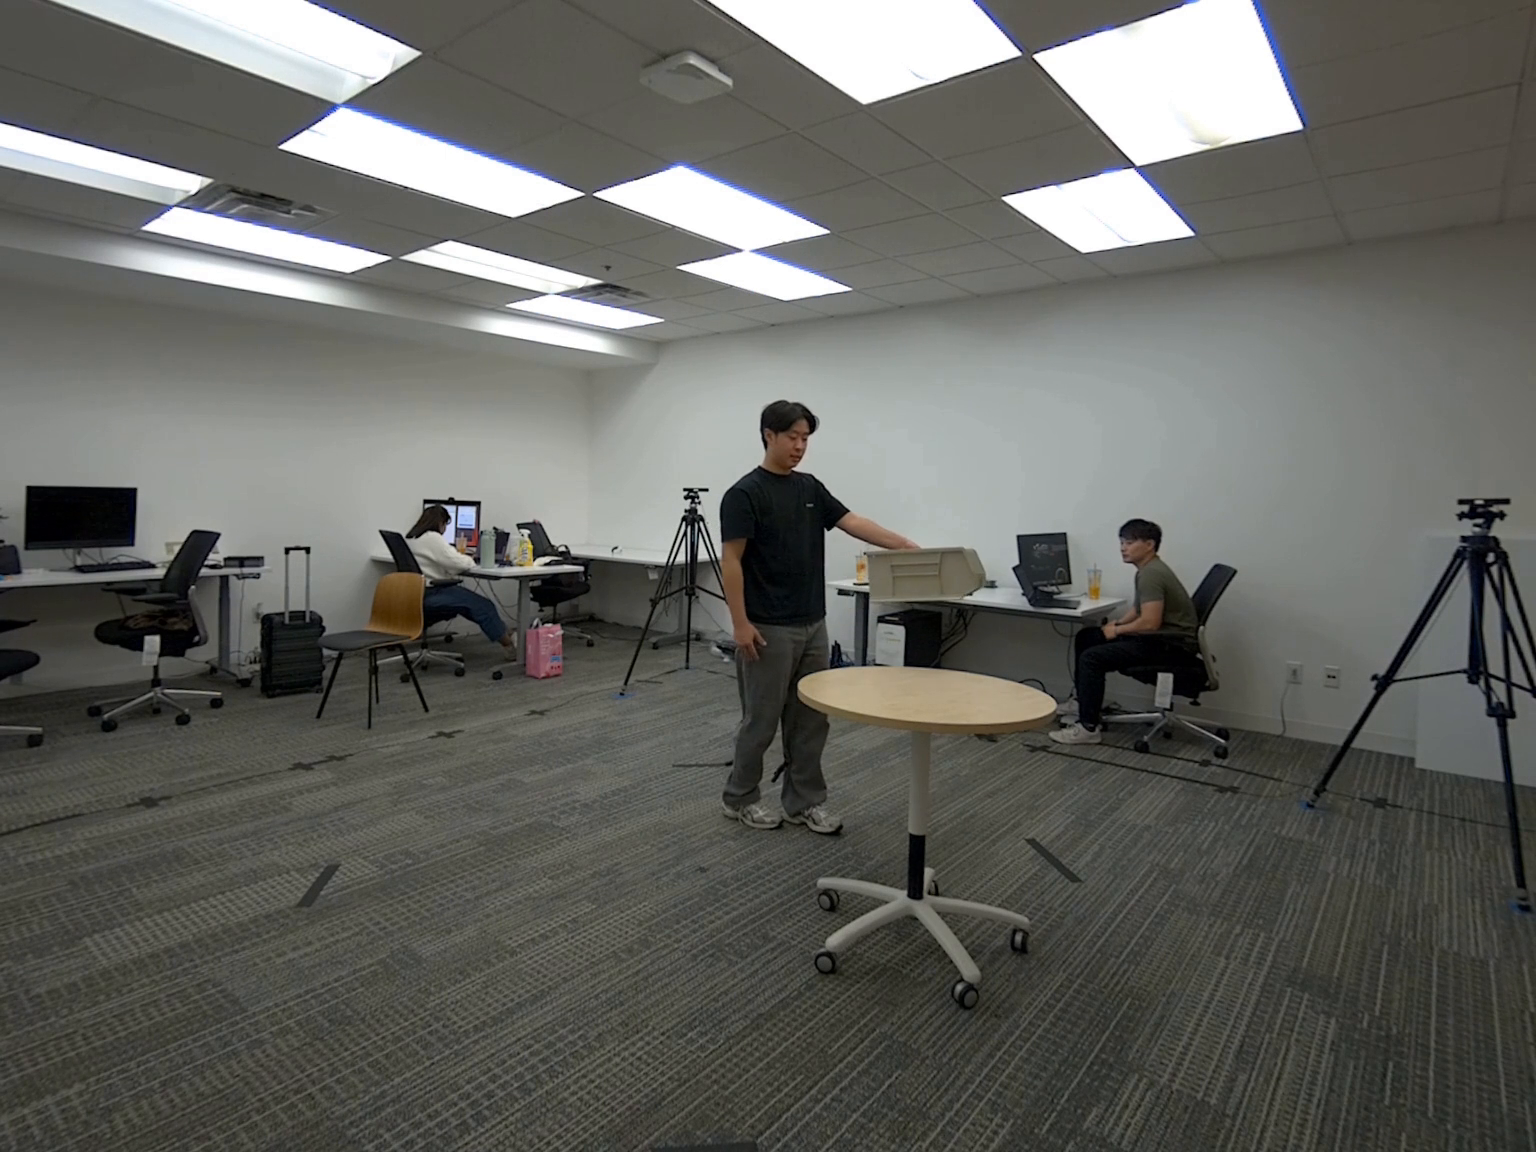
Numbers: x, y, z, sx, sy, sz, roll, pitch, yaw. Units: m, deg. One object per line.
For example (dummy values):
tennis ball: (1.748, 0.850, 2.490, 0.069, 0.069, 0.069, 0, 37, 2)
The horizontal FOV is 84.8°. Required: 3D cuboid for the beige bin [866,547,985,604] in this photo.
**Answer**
beige bin: (0.568, -0.004, 3.101, 0.384, 0.189, 0.414, -3, 0, 19)
